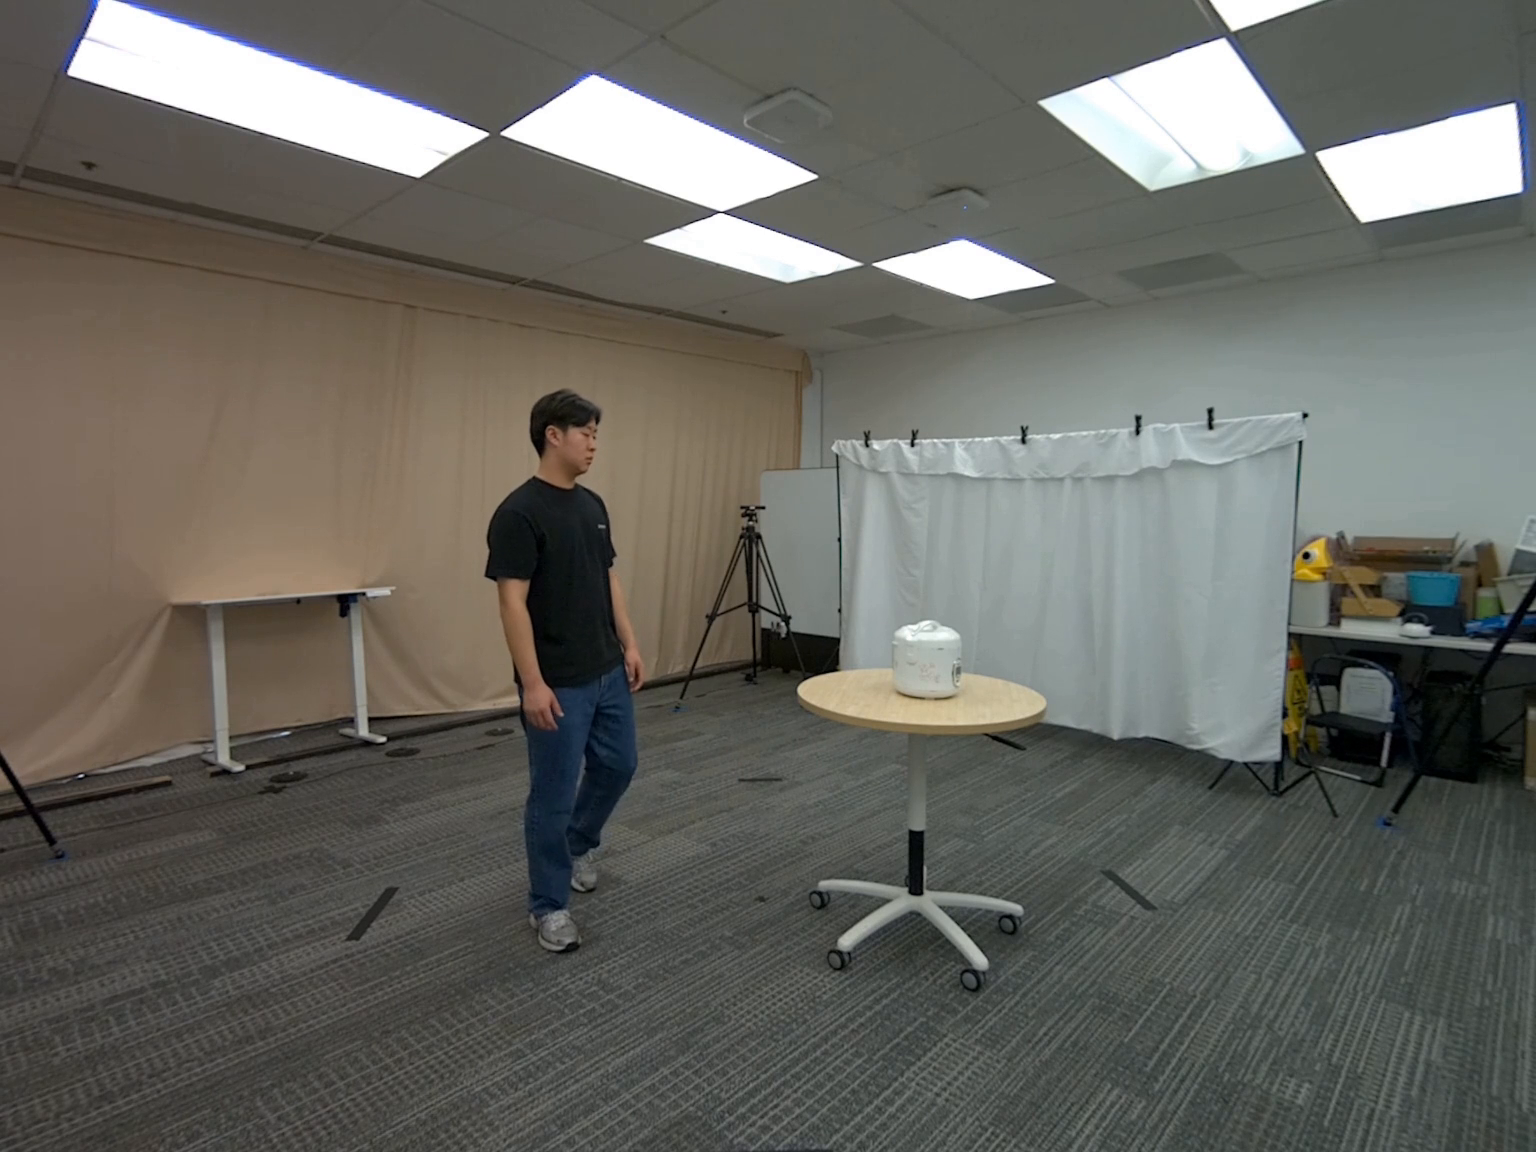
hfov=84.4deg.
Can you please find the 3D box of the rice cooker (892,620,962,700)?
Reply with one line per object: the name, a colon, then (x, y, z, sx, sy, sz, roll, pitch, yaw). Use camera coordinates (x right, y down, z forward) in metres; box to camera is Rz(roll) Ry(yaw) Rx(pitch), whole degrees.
rice cooker: (0.512, 0.260, 2.659, 0.224, 0.232, 0.214, 1, 4, 40)
